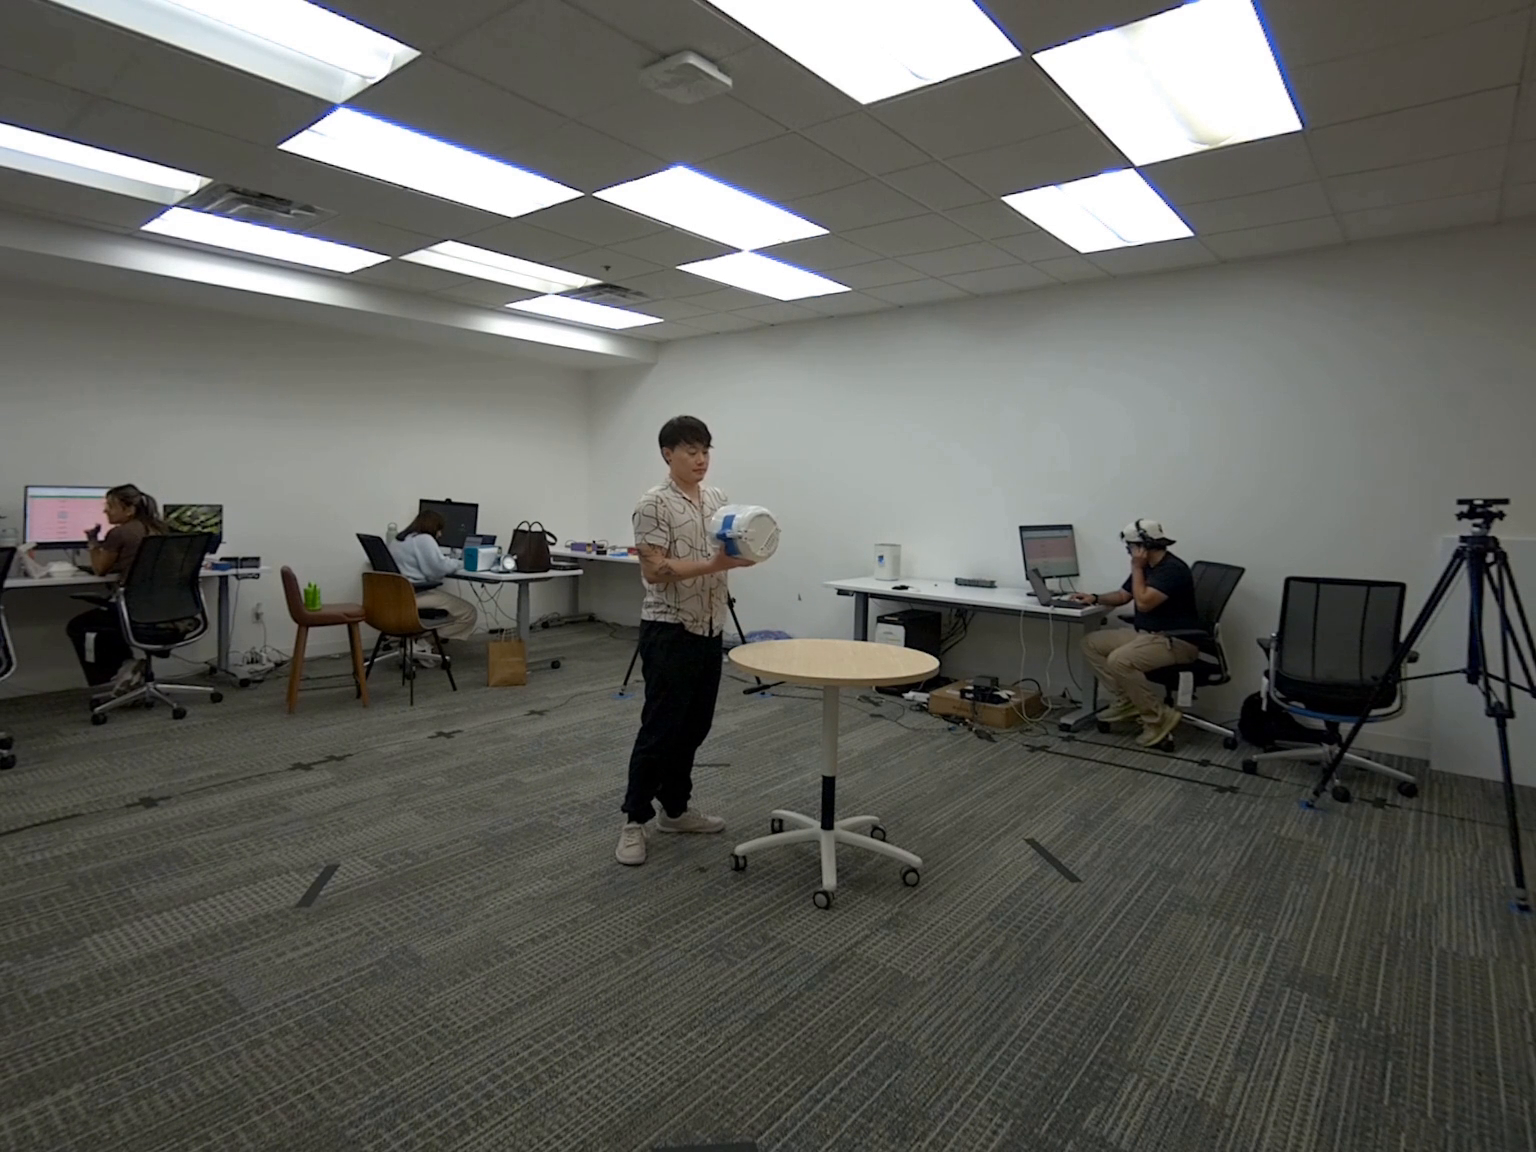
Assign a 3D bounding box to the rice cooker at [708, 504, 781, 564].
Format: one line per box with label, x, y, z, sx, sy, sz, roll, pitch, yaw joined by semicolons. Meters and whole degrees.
rice cooker;-0.109;-0.163;3.181;0.241;0.221;0.209;9;-31;49
